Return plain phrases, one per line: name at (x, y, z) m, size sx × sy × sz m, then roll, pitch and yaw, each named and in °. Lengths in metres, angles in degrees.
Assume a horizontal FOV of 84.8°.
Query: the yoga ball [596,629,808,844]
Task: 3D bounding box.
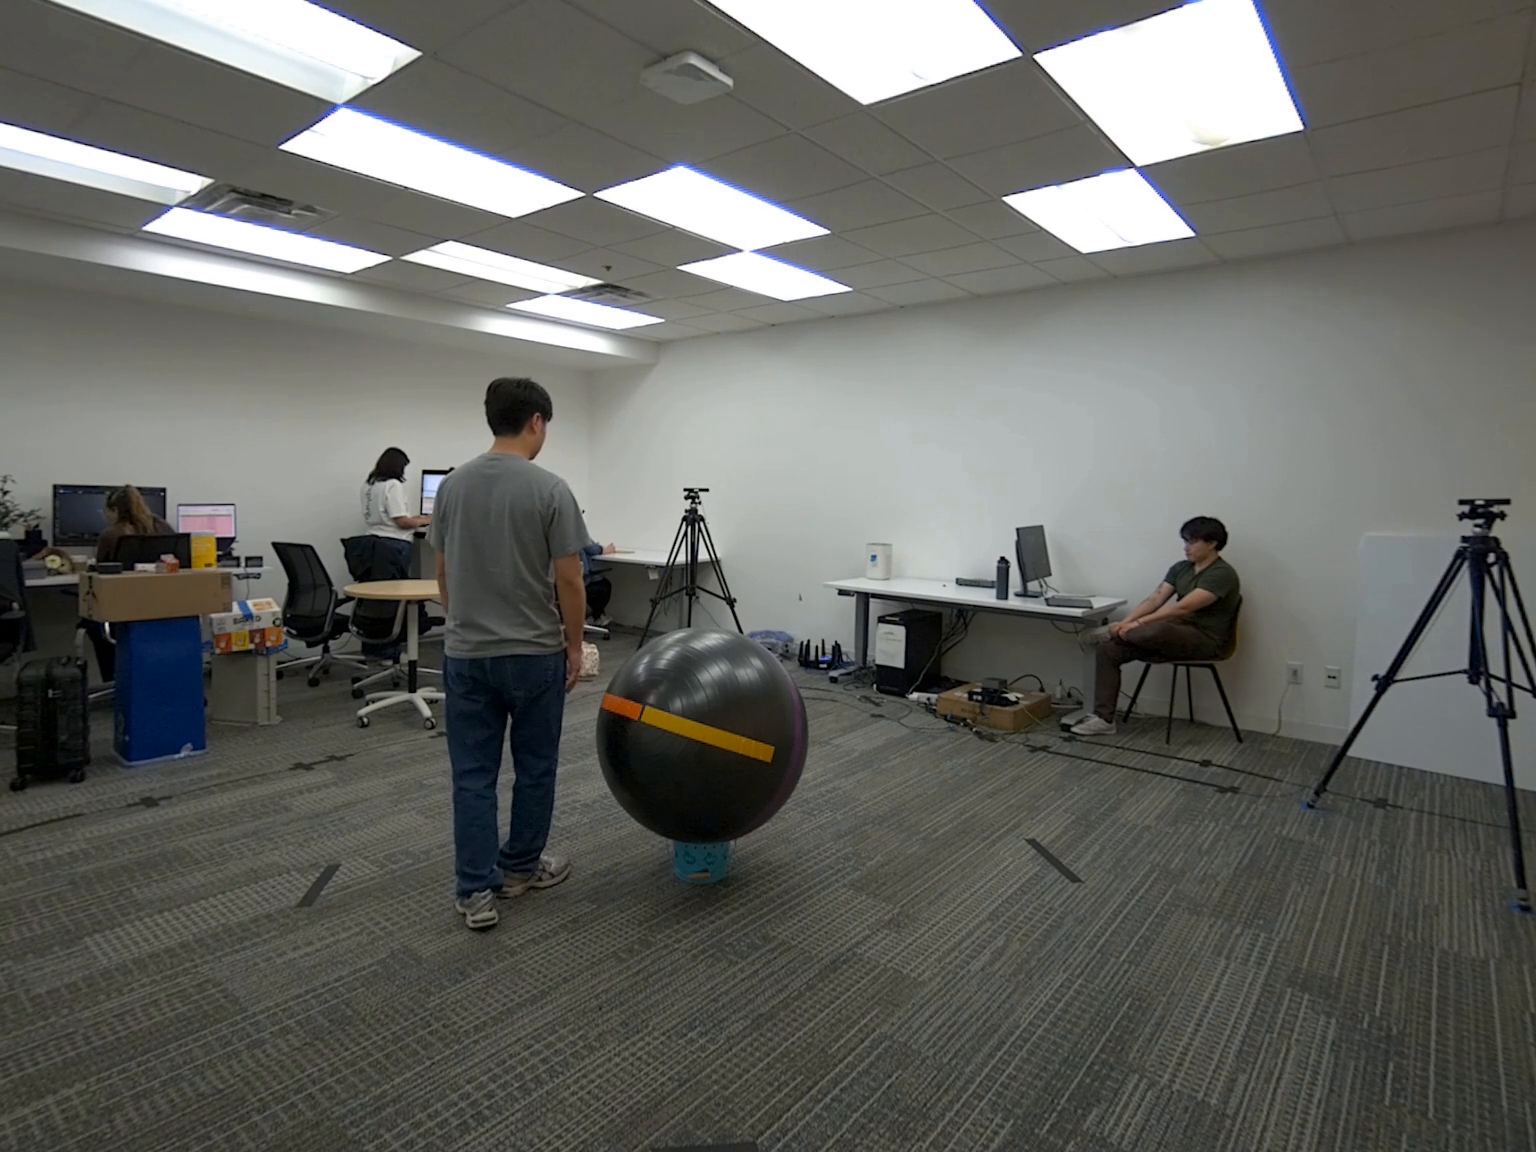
yoga ball at (-0.245, 0.563, 3.059) m, size 0.757 × 0.755 × 0.762 m, roll 1°, pitch 4°, yaw -2°
